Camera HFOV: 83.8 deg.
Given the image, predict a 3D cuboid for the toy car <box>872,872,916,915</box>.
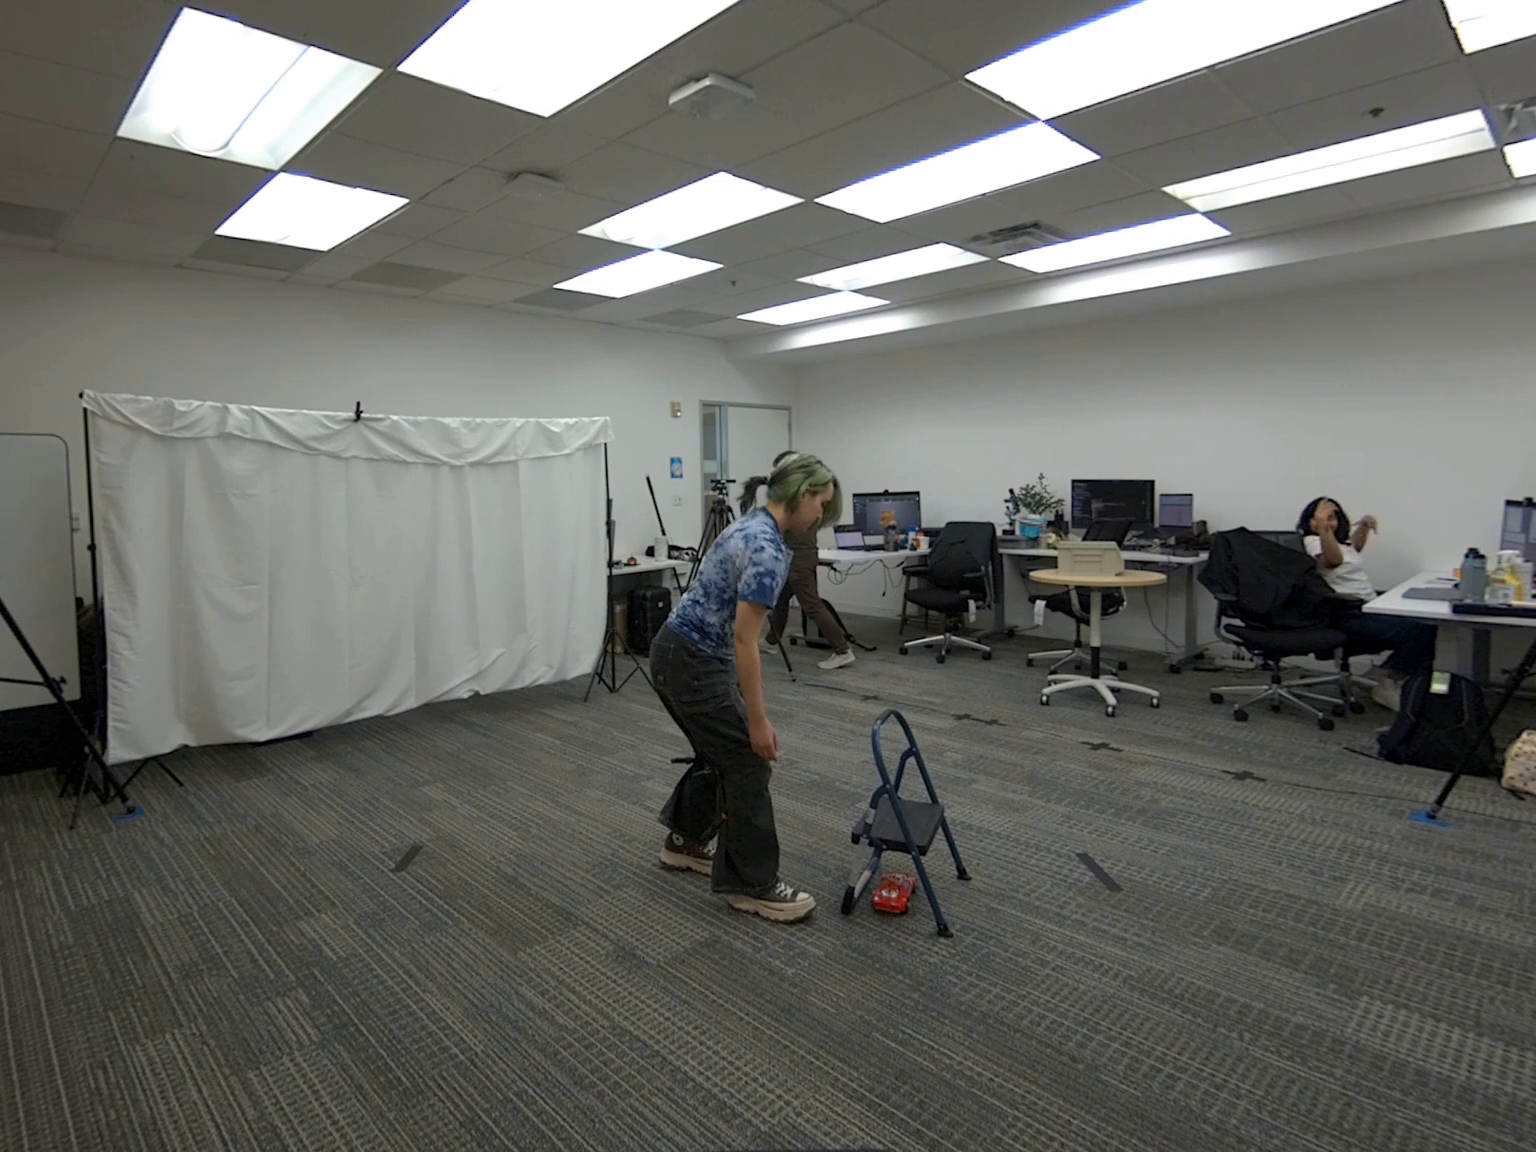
[{"bbox_3d":[0.418,1.041,2.805,0.133,0.083,0.248,4,-4,21],"label":"toy car"}]
